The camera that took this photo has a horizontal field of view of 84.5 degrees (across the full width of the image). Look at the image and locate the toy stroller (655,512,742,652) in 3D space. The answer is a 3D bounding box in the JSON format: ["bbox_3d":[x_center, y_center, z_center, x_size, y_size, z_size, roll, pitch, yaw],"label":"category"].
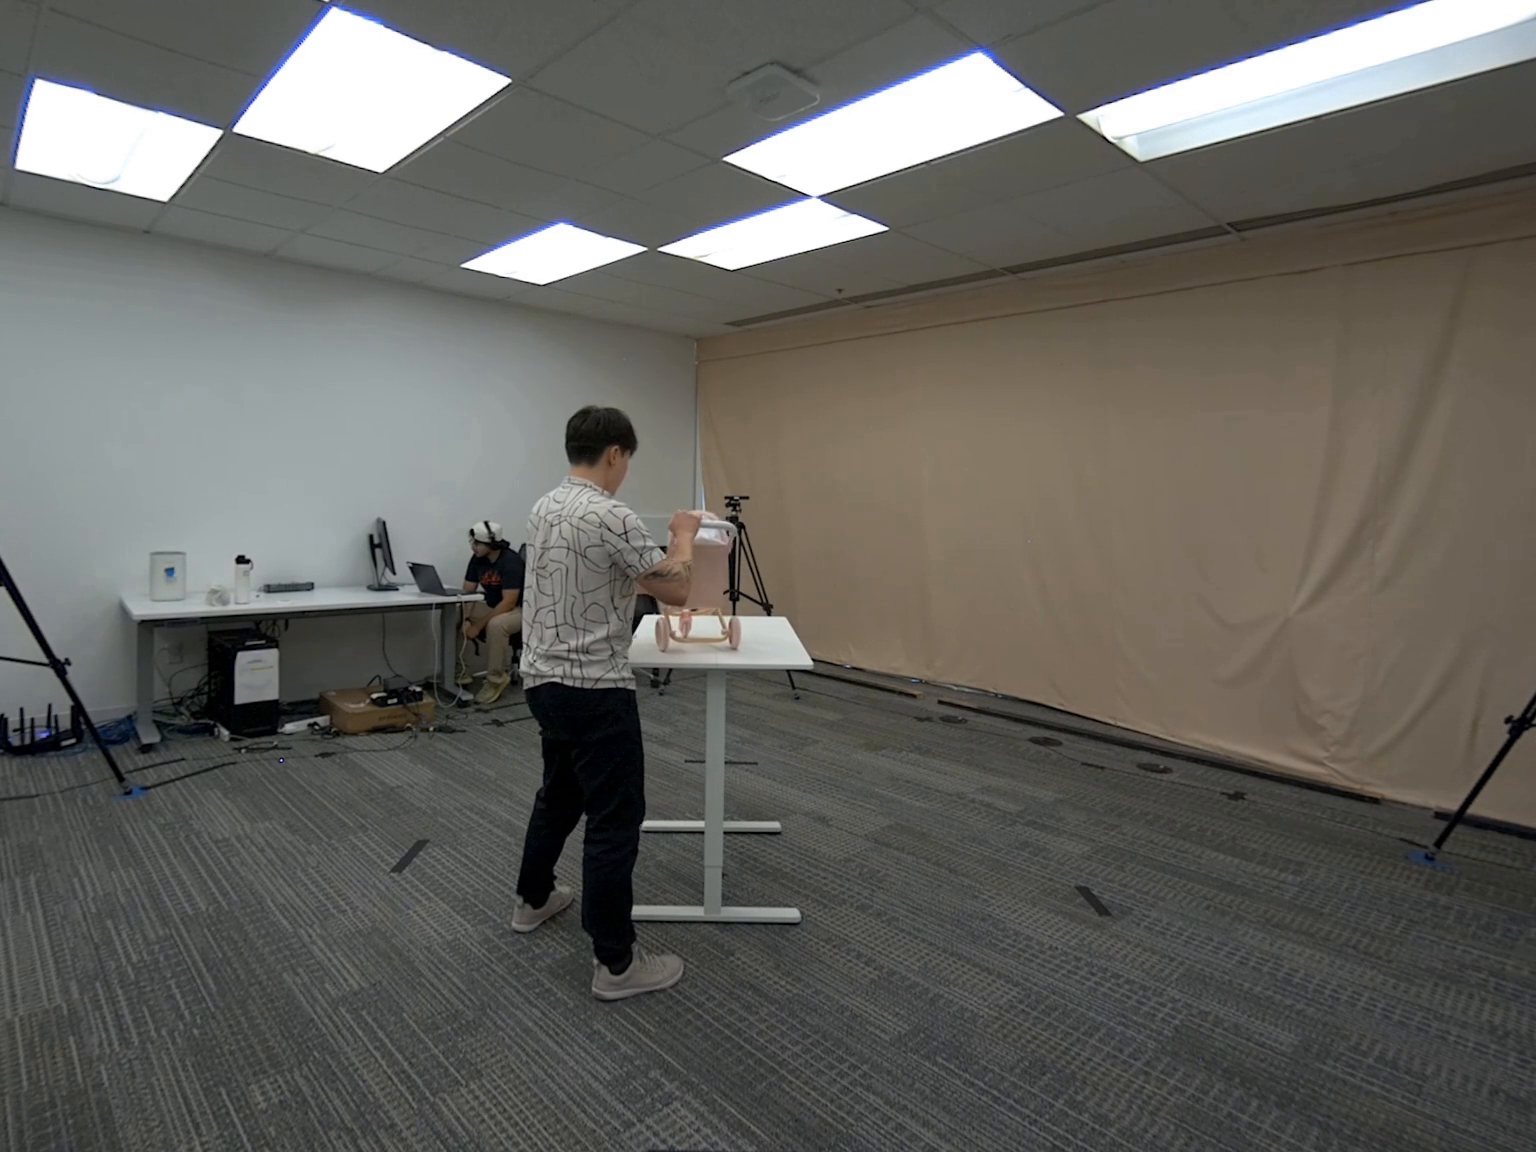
[{"bbox_3d":[-0.248,0.020,2.865,0.279,0.529,0.348,1,18,-11],"label":"toy stroller"}]
